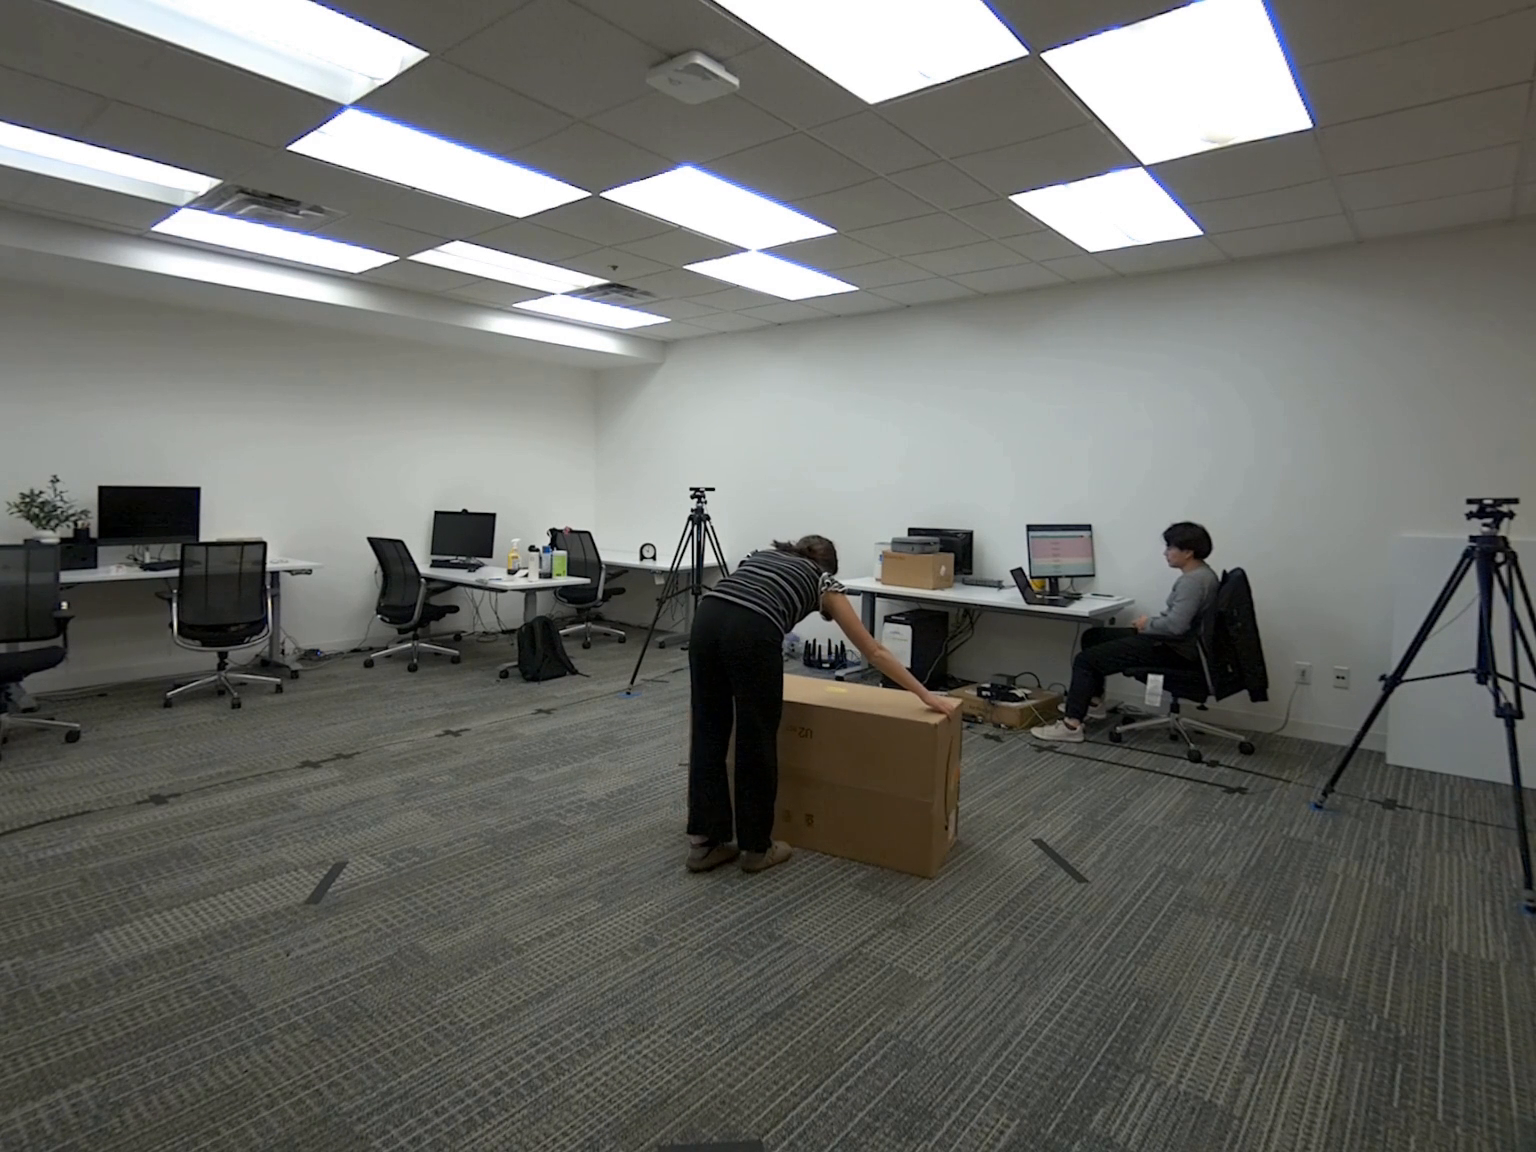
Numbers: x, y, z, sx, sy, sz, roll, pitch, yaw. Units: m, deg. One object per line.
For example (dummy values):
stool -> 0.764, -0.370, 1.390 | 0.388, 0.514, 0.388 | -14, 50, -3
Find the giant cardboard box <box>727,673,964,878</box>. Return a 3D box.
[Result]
giant cardboard box -> 0.219, 0.747, 3.472 | 1.054, 0.575, 0.416 | 4, 5, 27
